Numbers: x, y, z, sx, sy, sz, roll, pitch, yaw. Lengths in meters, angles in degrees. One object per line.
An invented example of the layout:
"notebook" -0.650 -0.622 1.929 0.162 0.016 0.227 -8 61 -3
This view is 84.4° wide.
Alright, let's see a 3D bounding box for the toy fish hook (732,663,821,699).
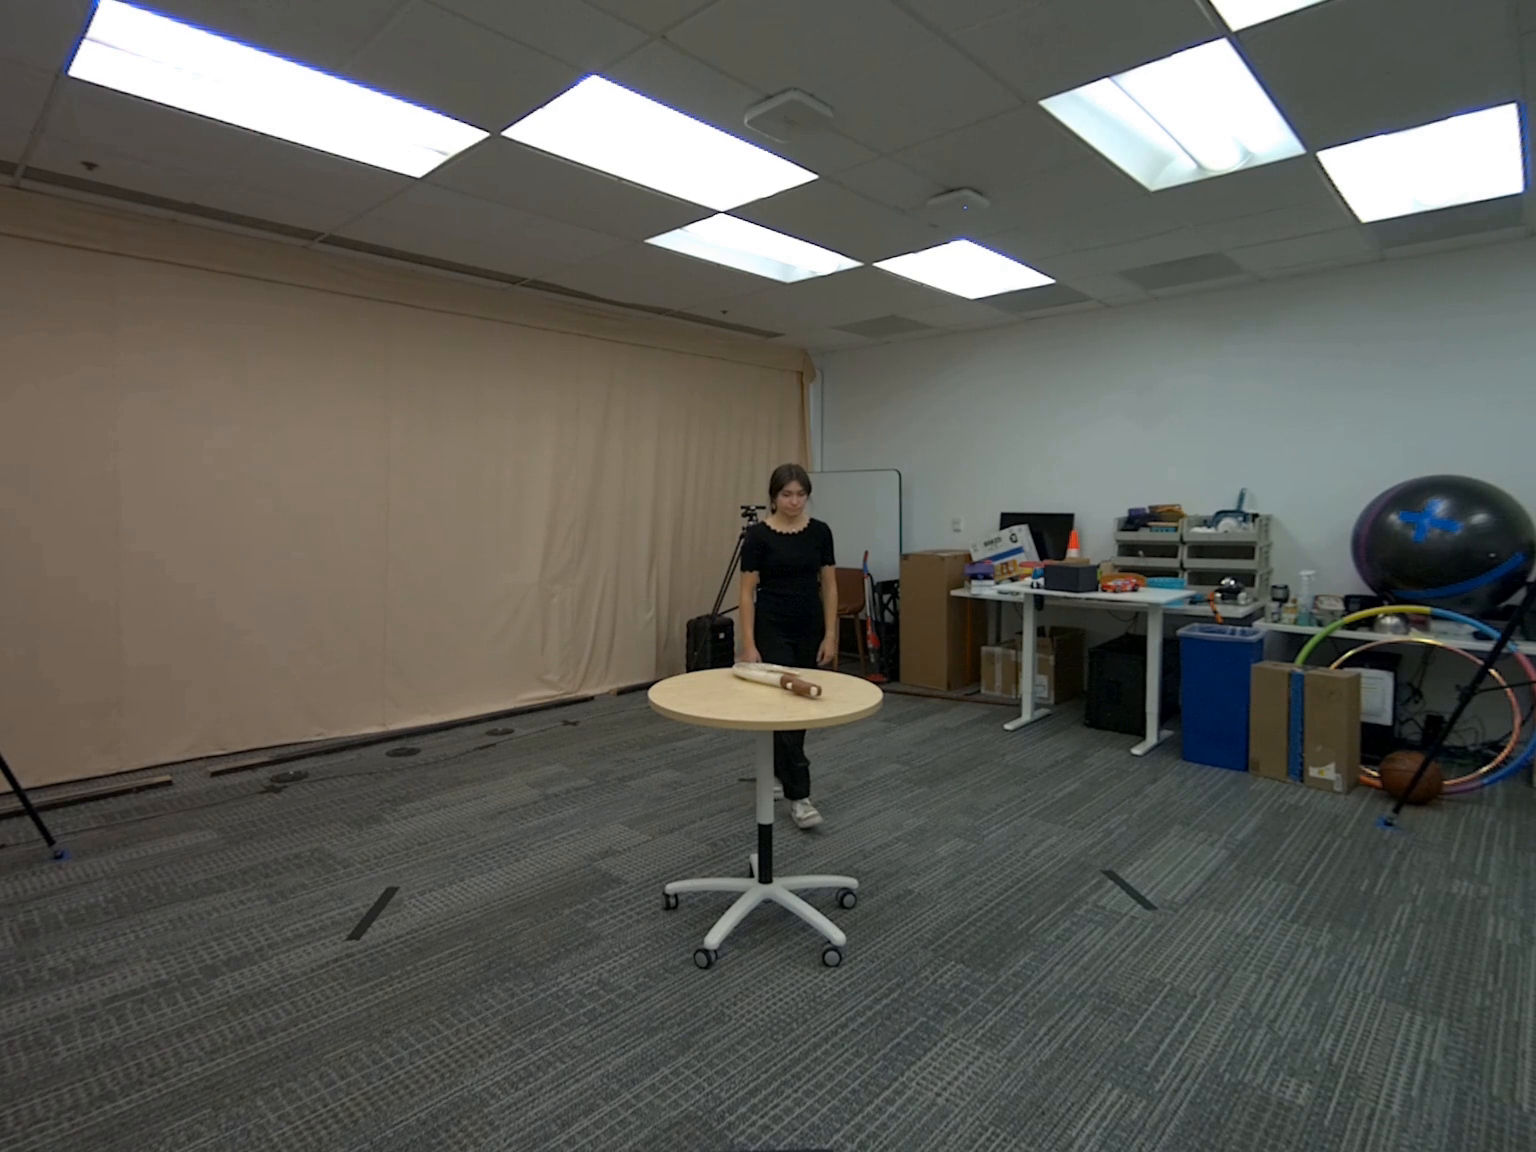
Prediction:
"toy fish hook" 0.076 0.338 2.872 0.220 0.048 0.521 -15 11 -28
